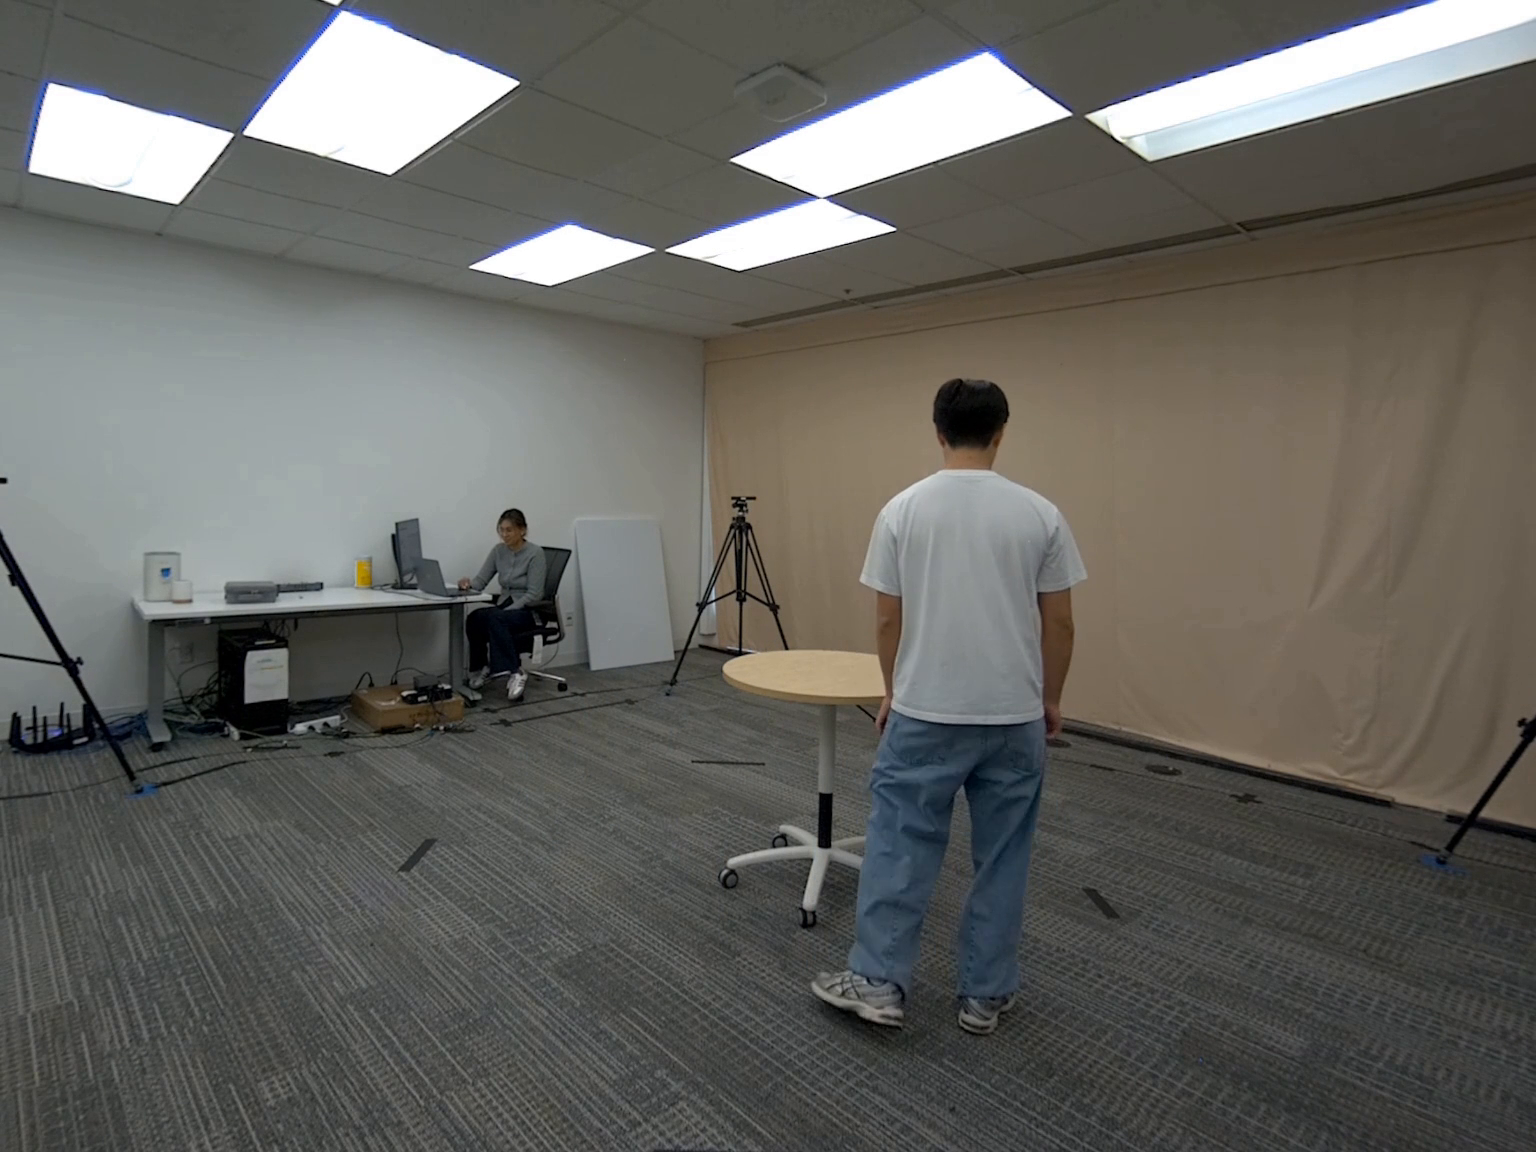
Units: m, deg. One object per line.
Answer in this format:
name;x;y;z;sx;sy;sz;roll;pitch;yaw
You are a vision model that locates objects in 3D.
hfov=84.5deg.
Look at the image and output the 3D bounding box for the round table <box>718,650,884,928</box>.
round table;0.200;0.733;3.026;0.763;0.792;0.767;1;4;-1
